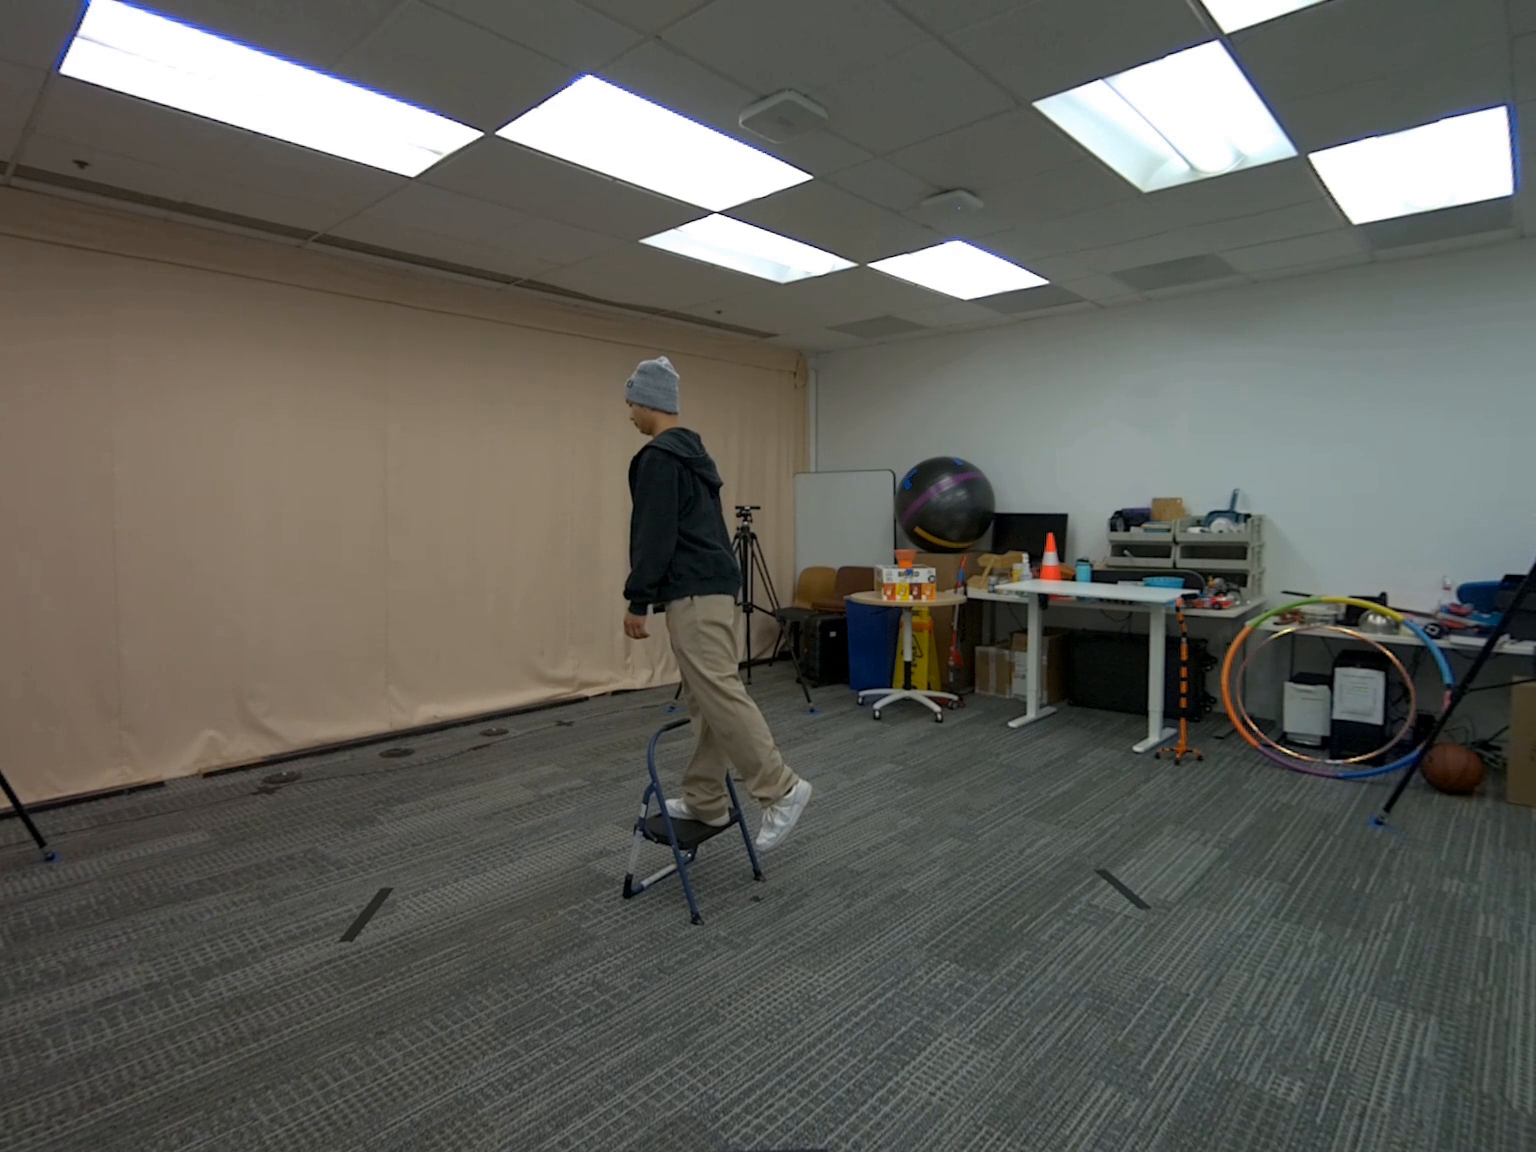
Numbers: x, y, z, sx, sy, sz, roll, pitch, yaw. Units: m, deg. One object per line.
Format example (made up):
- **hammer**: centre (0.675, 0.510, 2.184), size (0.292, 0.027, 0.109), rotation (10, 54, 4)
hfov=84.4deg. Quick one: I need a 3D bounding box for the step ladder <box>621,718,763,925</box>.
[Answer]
- **step ladder**: centre (-0.270, 0.838, 3.053), size (0.360, 0.605, 0.419), rotation (1, 4, 32)
